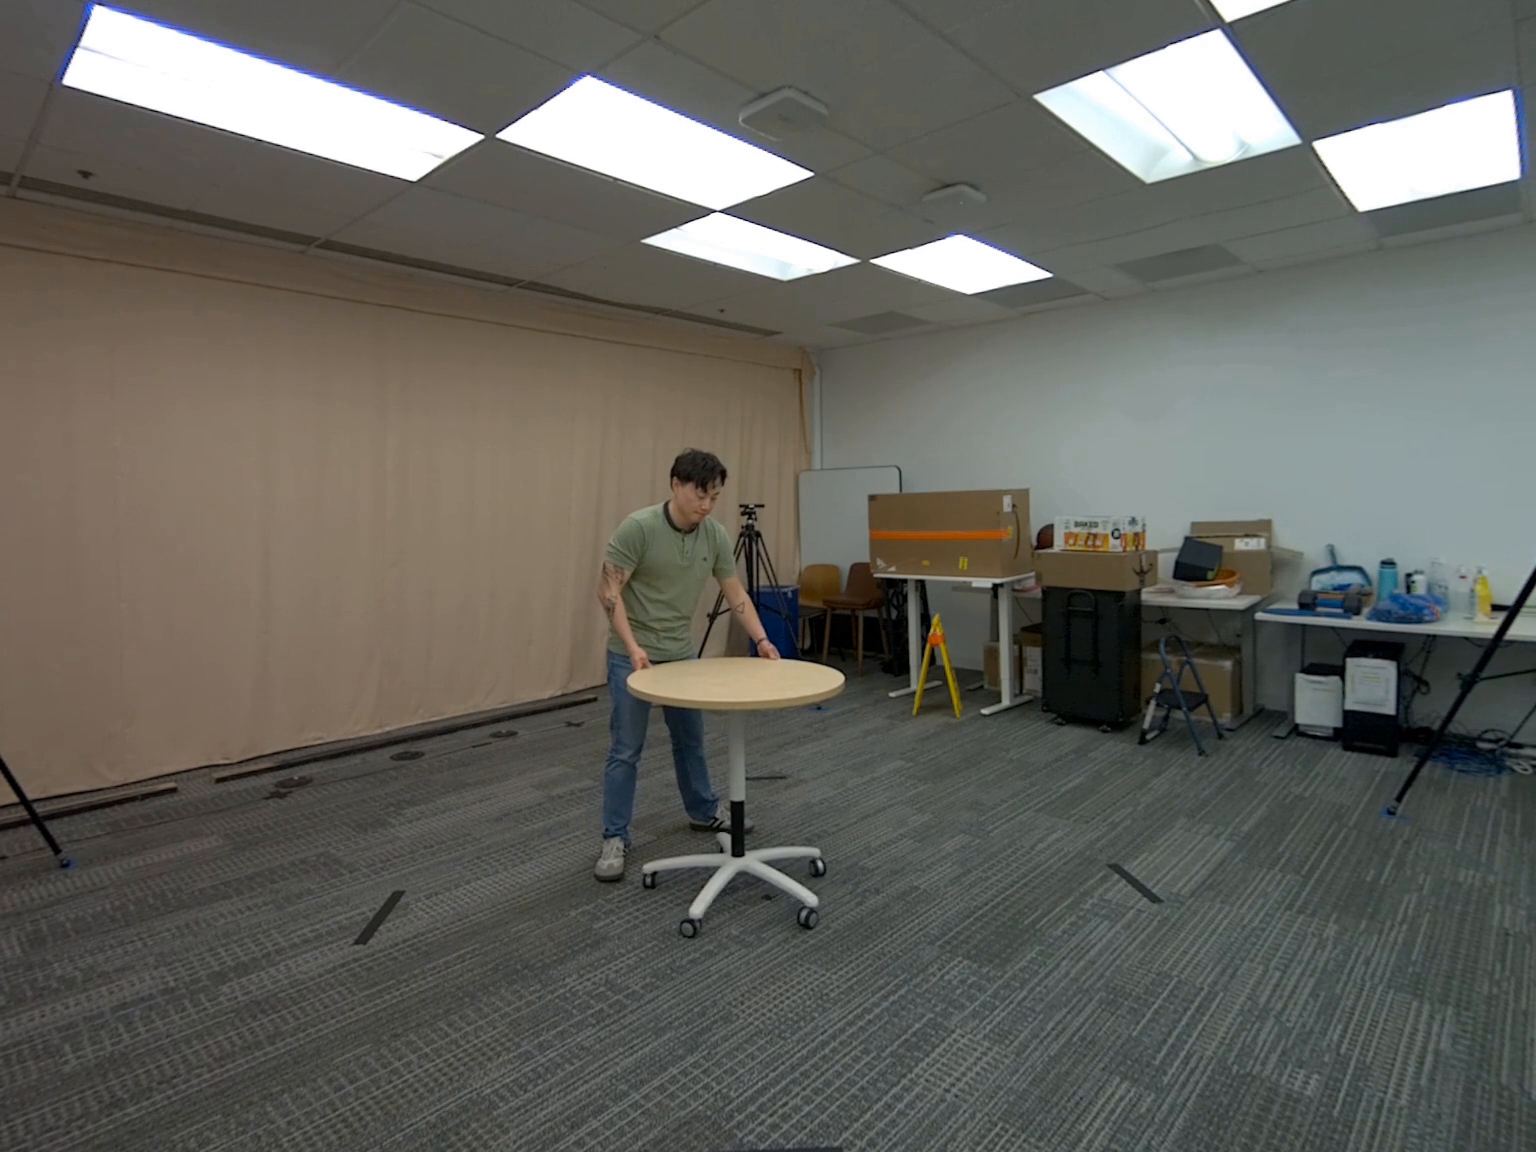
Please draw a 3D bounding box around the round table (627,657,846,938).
[{"bbox_3d":[-0.099,0.749,3.003,0.763,0.792,0.767,-1,4,-2],"label":"round table"}]
